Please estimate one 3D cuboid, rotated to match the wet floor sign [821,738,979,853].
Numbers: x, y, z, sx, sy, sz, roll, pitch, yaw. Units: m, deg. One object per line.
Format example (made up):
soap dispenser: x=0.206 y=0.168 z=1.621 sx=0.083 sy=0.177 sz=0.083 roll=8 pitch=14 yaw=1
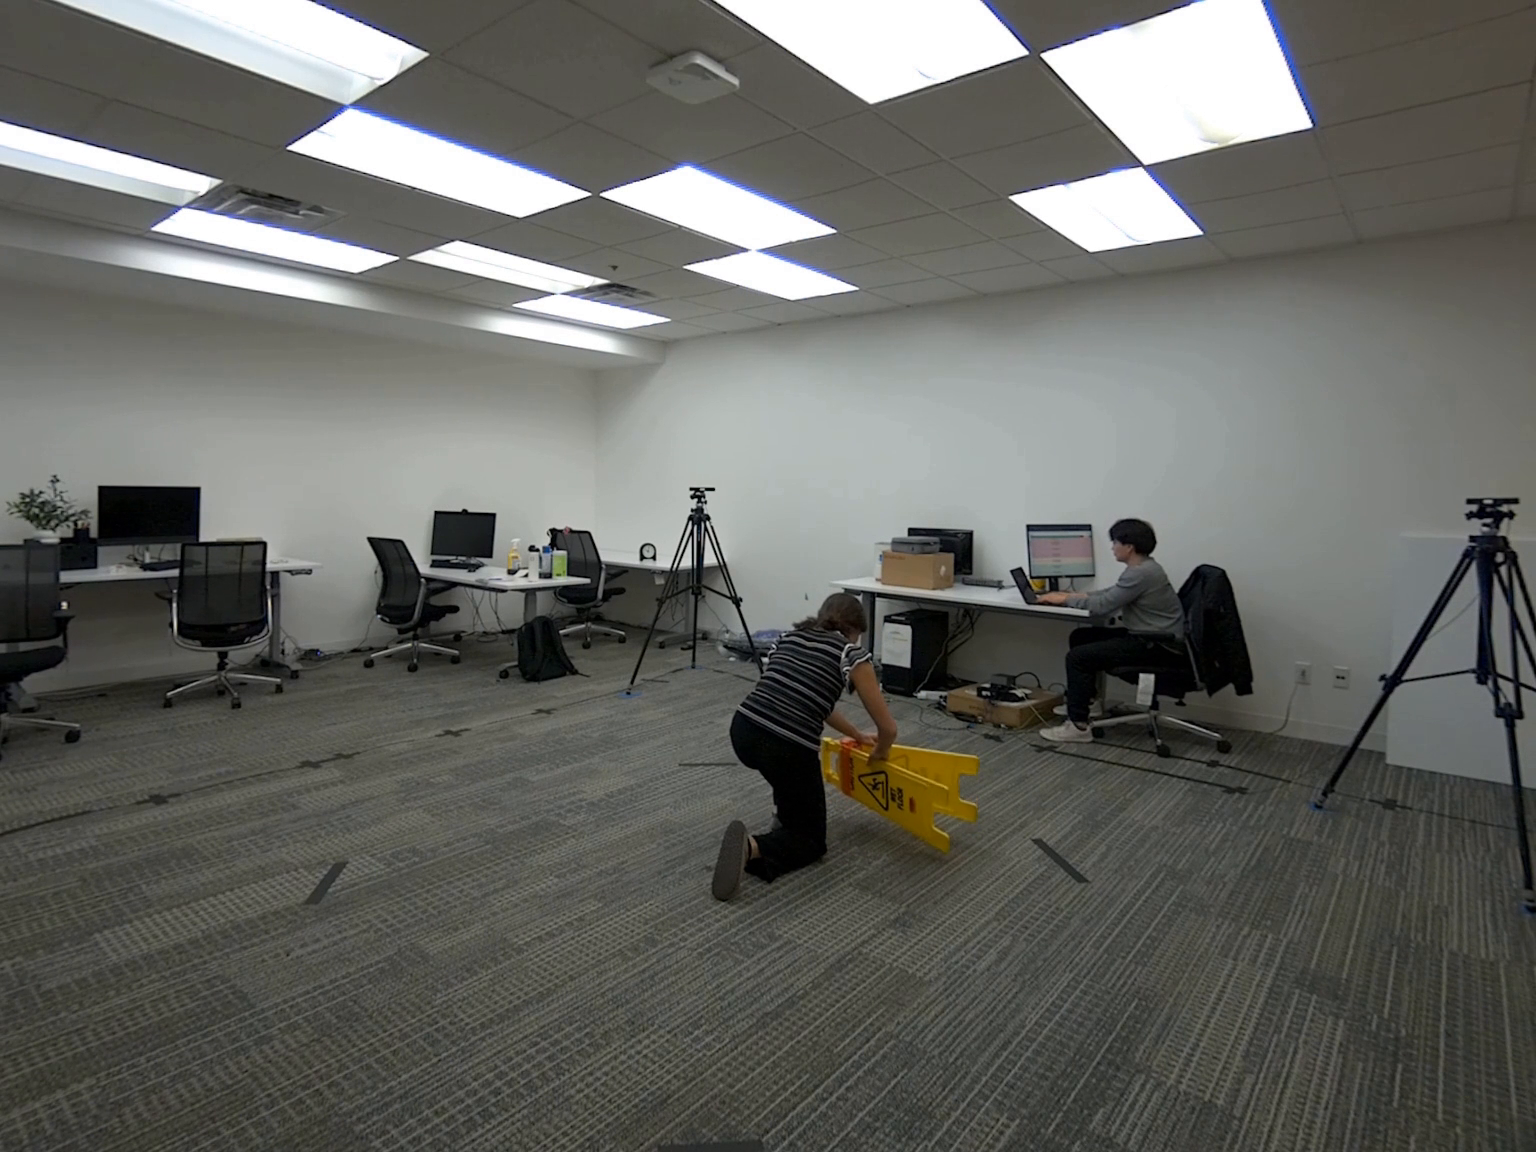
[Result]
wet floor sign: x=0.487 y=0.839 z=3.480 sx=0.669 sy=0.278 sz=0.284 roll=11 pitch=20 yaw=38
